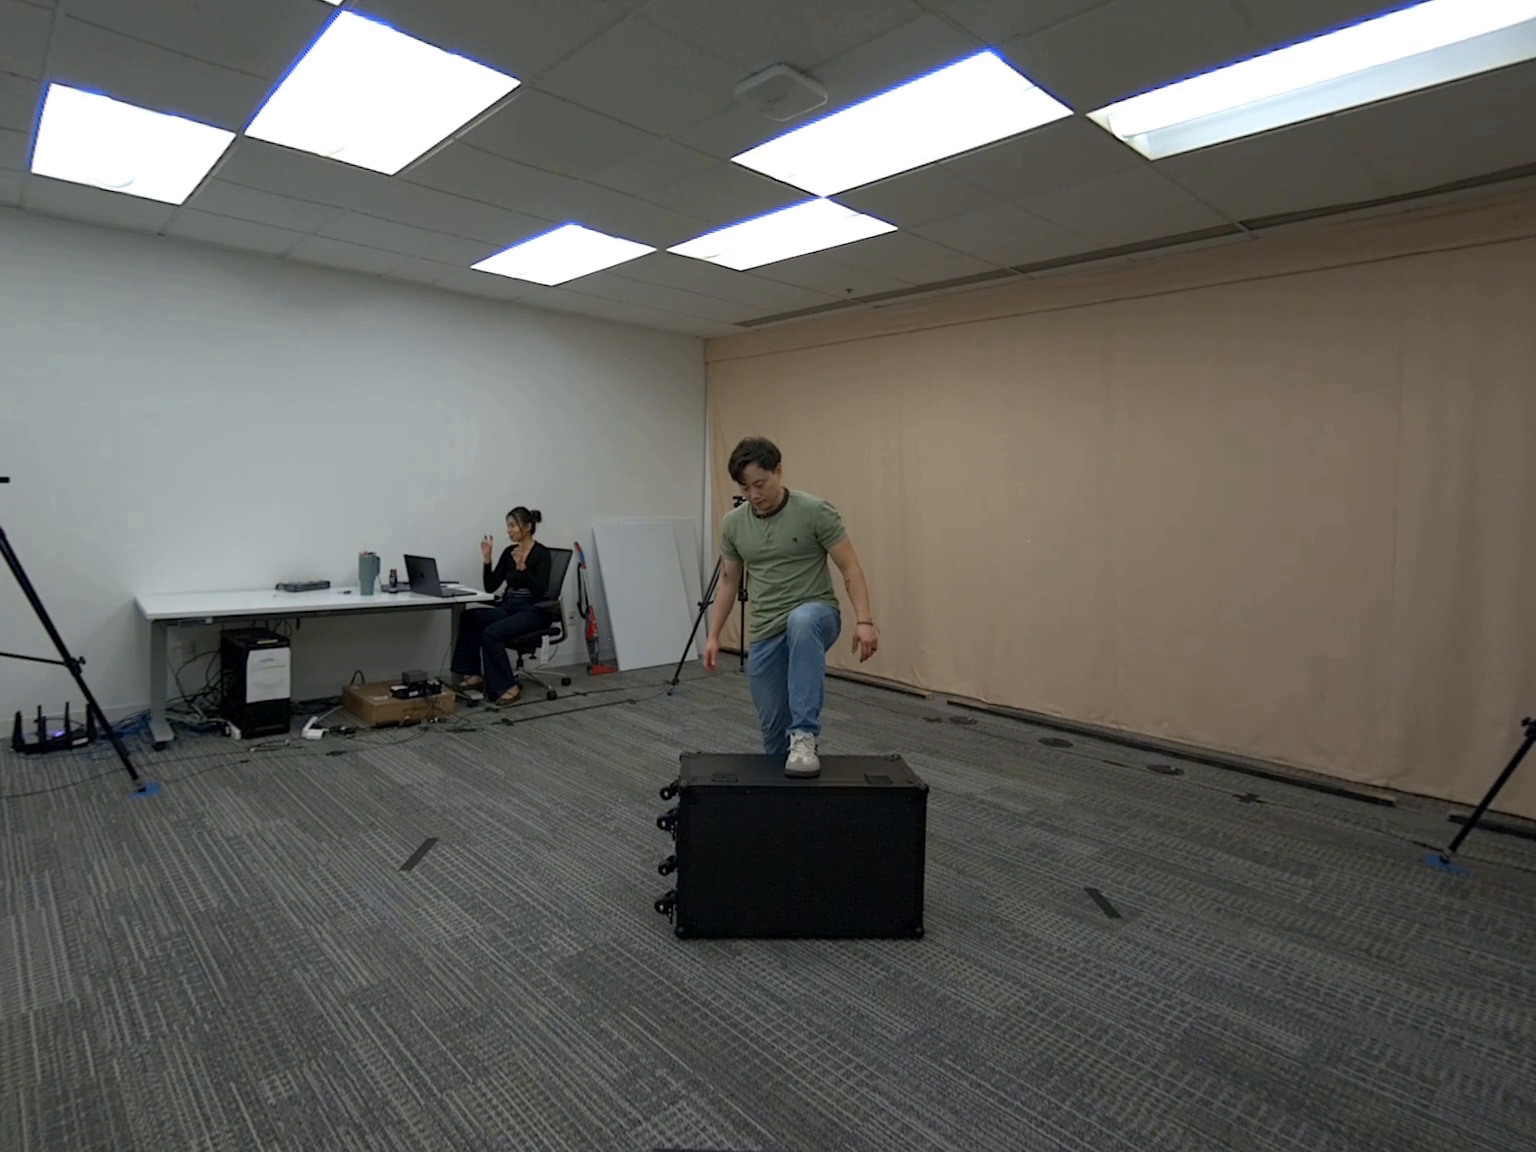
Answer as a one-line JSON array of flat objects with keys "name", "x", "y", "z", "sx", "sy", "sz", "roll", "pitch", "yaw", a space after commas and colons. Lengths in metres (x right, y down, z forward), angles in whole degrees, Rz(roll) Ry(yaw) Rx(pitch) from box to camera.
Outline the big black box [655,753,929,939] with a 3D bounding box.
[{"name": "big black box", "x": 0.057, "y": 0.880, "z": 2.823, "sx": 0.859, "sy": 0.520, "sz": 0.398, "roll": 1, "pitch": 2, "yaw": -4}]
